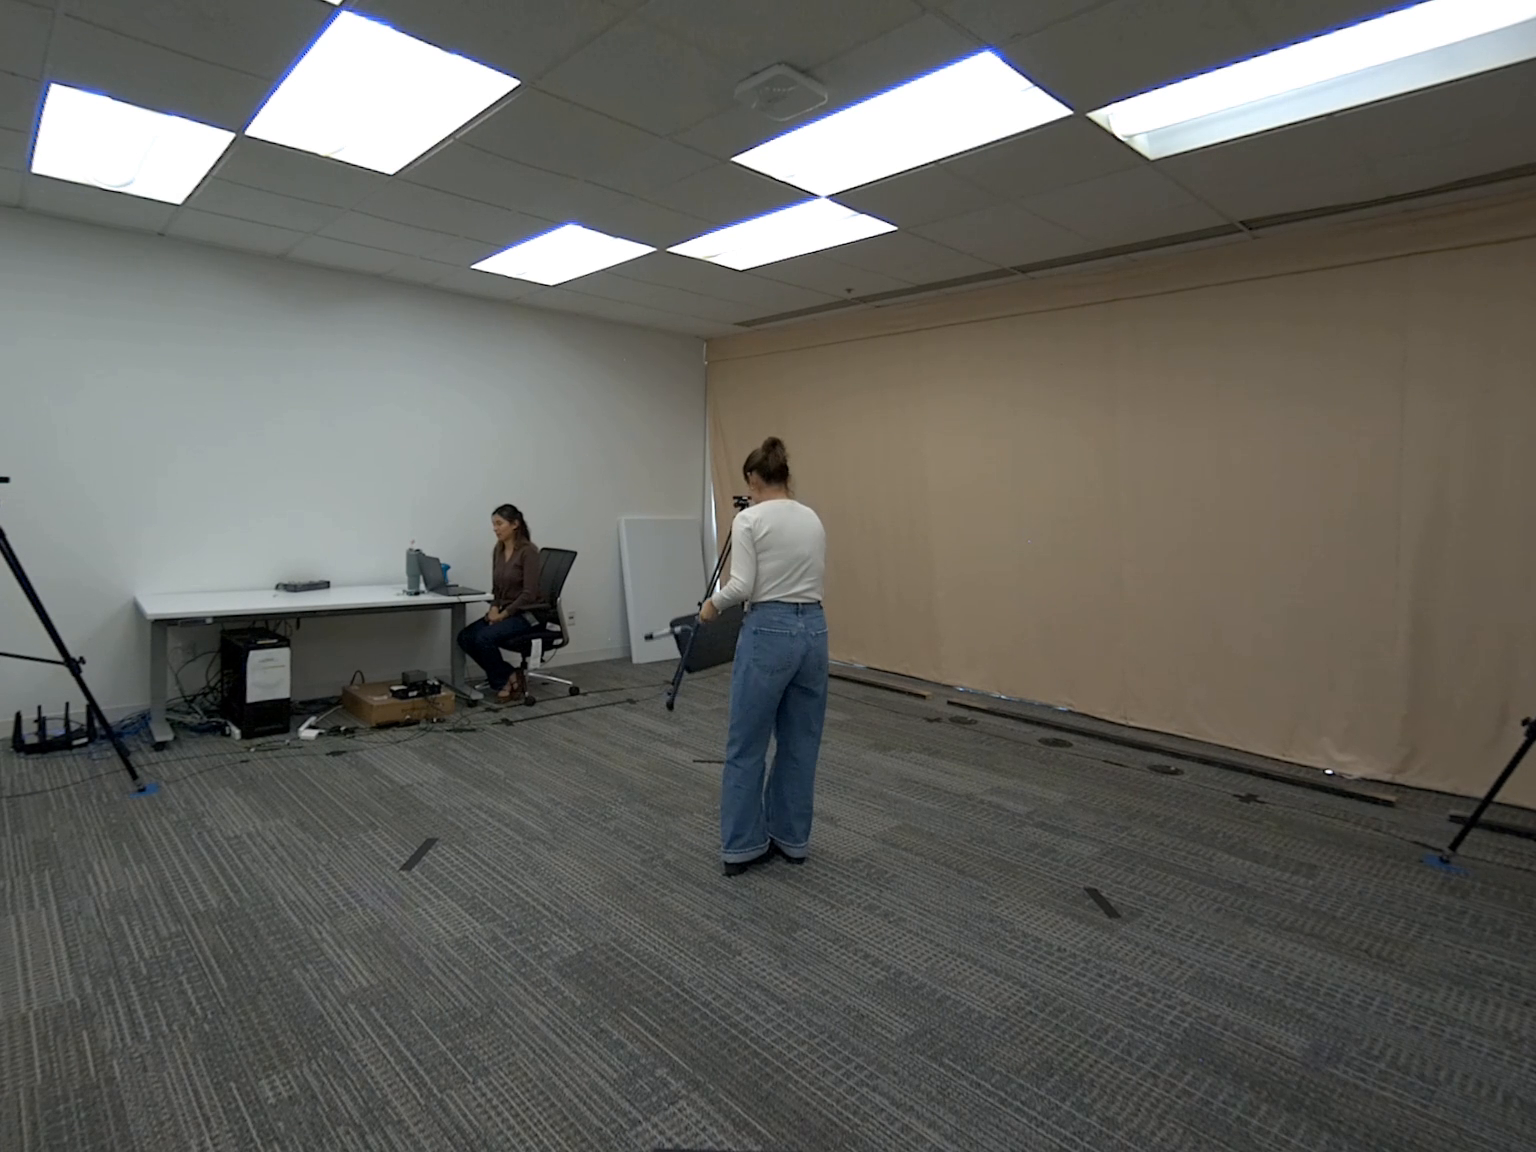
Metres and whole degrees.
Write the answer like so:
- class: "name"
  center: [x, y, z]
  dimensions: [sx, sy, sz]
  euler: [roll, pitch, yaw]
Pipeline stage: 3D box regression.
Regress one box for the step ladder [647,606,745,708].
- class: "step ladder"
  center: [-0.184, 0.256, 3.519]
  dimensions: [0.423, 0.355, 0.607]
  euler: [-12, -19, -33]
